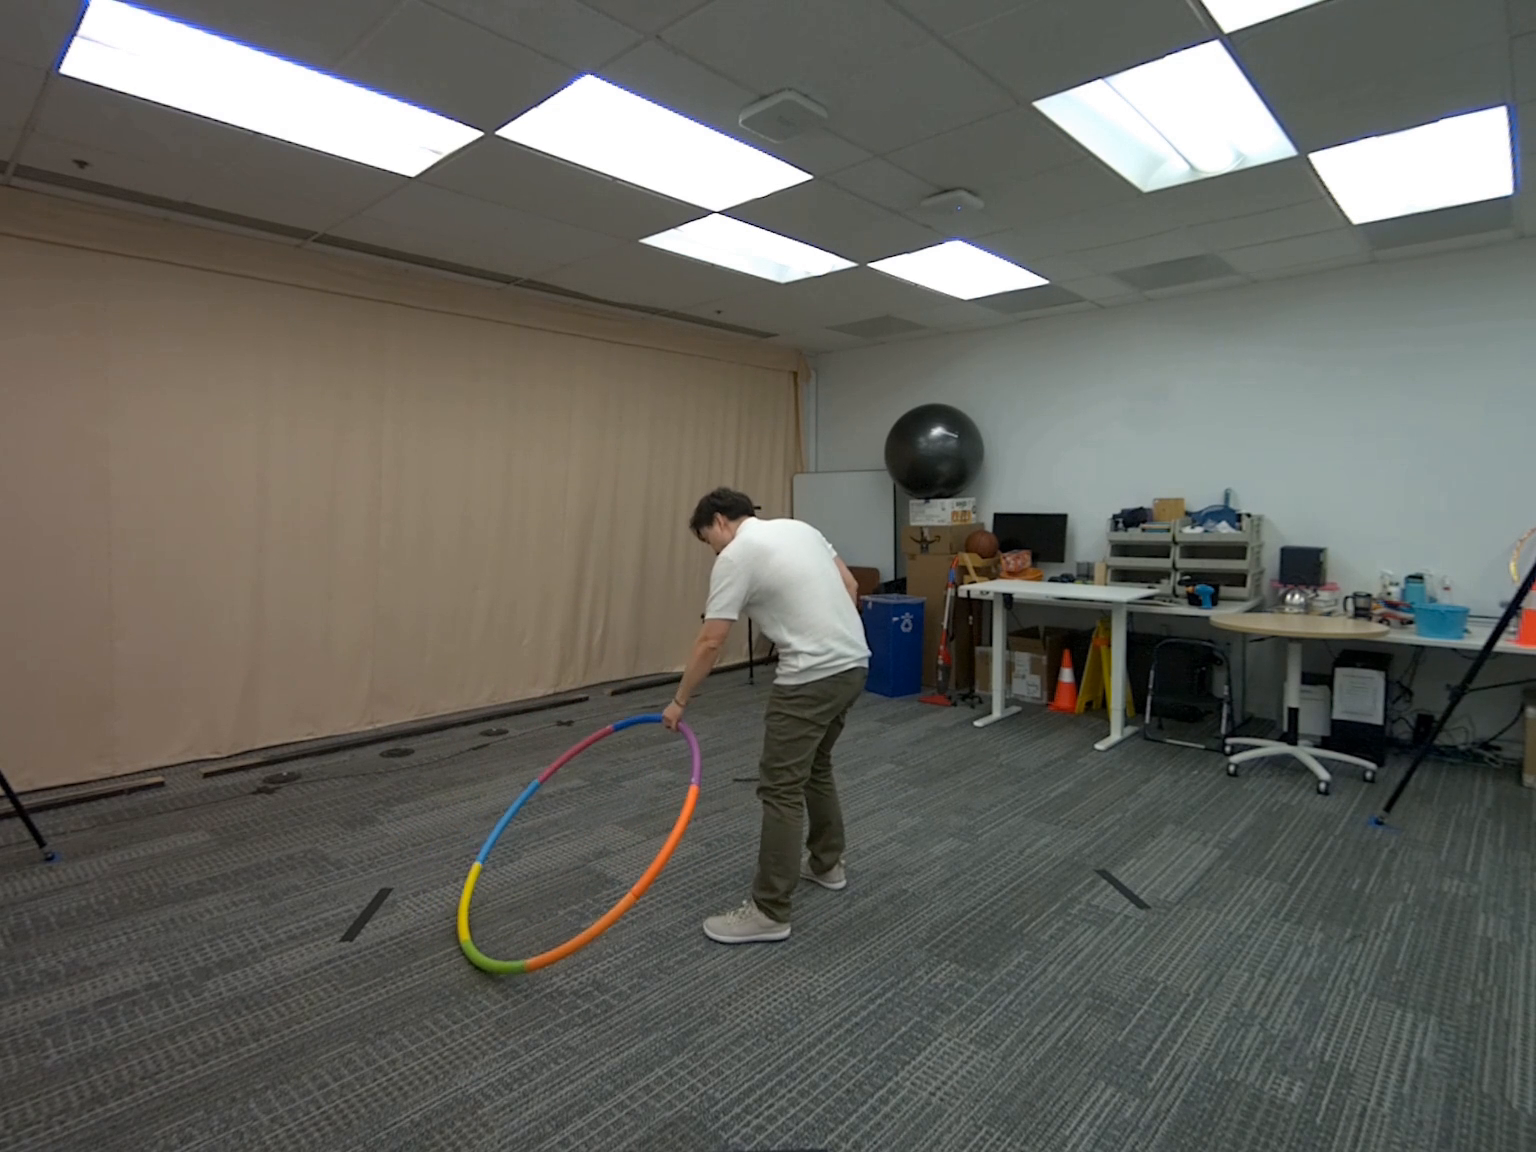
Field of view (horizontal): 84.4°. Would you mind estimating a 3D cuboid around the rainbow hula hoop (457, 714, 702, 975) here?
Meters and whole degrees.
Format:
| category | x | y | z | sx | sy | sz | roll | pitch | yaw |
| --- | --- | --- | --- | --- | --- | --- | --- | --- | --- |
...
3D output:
| category | x | y | z | sx | sy | sz | roll | pitch | yaw |
| --- | --- | --- | --- | --- | --- | --- | --- | --- | --- |
| rainbow hula hoop | -0.620 | 0.835 | 2.798 | 0.987 | 0.035 | 0.995 | -30 | 26 | 13 |
